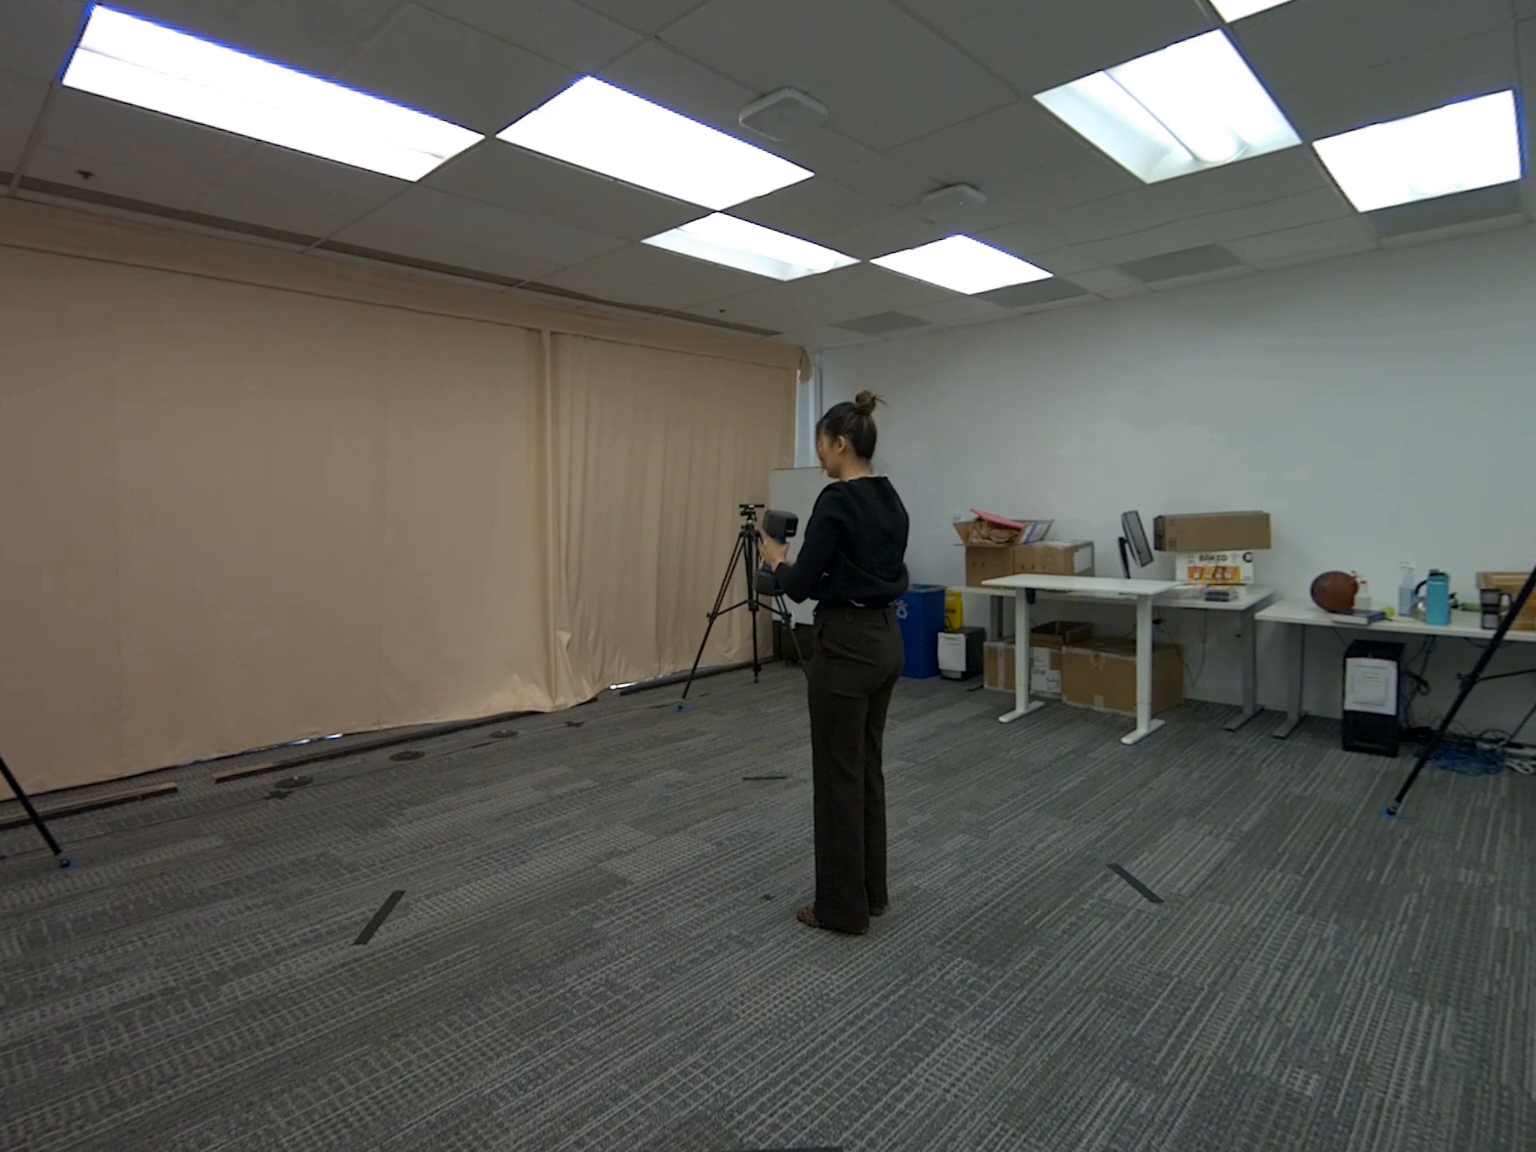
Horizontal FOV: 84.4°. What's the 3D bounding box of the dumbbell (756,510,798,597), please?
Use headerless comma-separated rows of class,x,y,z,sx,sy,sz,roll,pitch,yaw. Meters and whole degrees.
dumbbell,0.028,-0.078,2.925,0.106,0.292,0.126,8,8,-19
